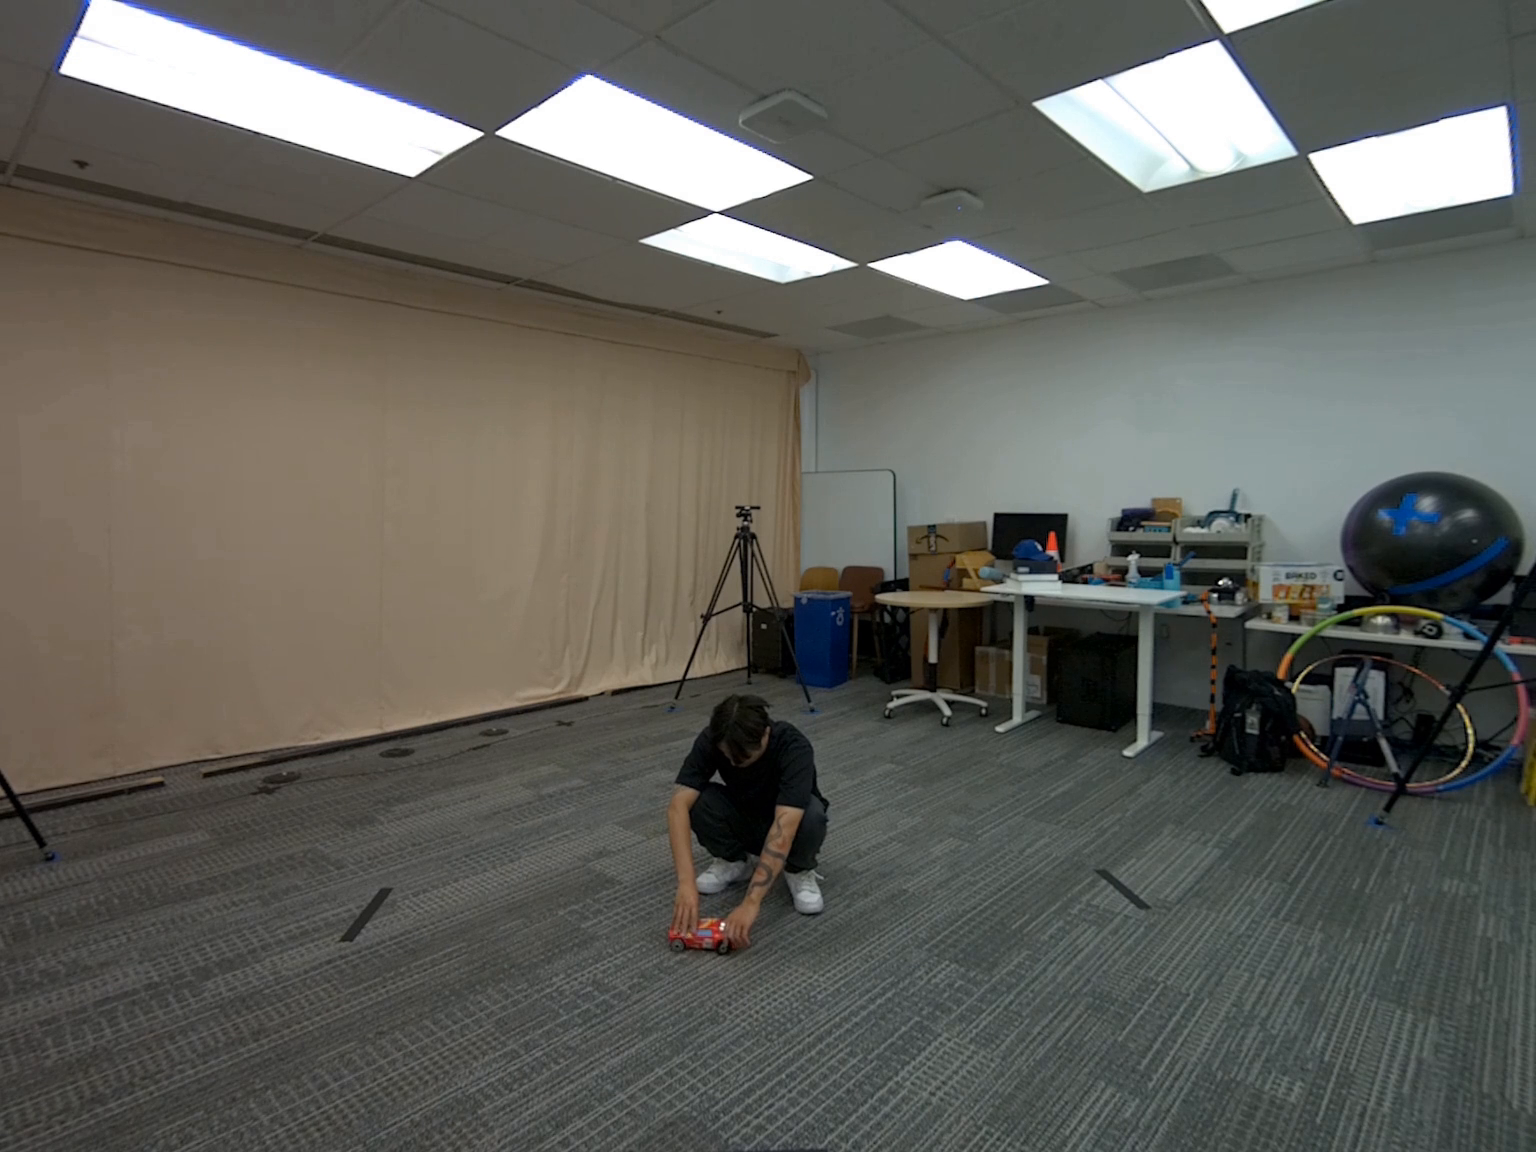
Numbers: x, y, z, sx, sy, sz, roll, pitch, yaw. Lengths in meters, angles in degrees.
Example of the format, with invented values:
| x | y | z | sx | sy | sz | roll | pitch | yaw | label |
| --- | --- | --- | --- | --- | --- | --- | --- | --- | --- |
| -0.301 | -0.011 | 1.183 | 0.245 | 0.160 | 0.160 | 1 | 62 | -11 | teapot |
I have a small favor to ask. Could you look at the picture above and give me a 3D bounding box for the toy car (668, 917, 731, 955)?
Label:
| x | y | z | sx | sy | sz | roll | pitch | yaw | label |
| --- | --- | --- | --- | --- | --- | --- | --- | --- | --- |
| -0.181 | 1.136 | 2.669 | 0.257 | 0.083 | 0.129 | -12 | 4 | 9 | toy car |
